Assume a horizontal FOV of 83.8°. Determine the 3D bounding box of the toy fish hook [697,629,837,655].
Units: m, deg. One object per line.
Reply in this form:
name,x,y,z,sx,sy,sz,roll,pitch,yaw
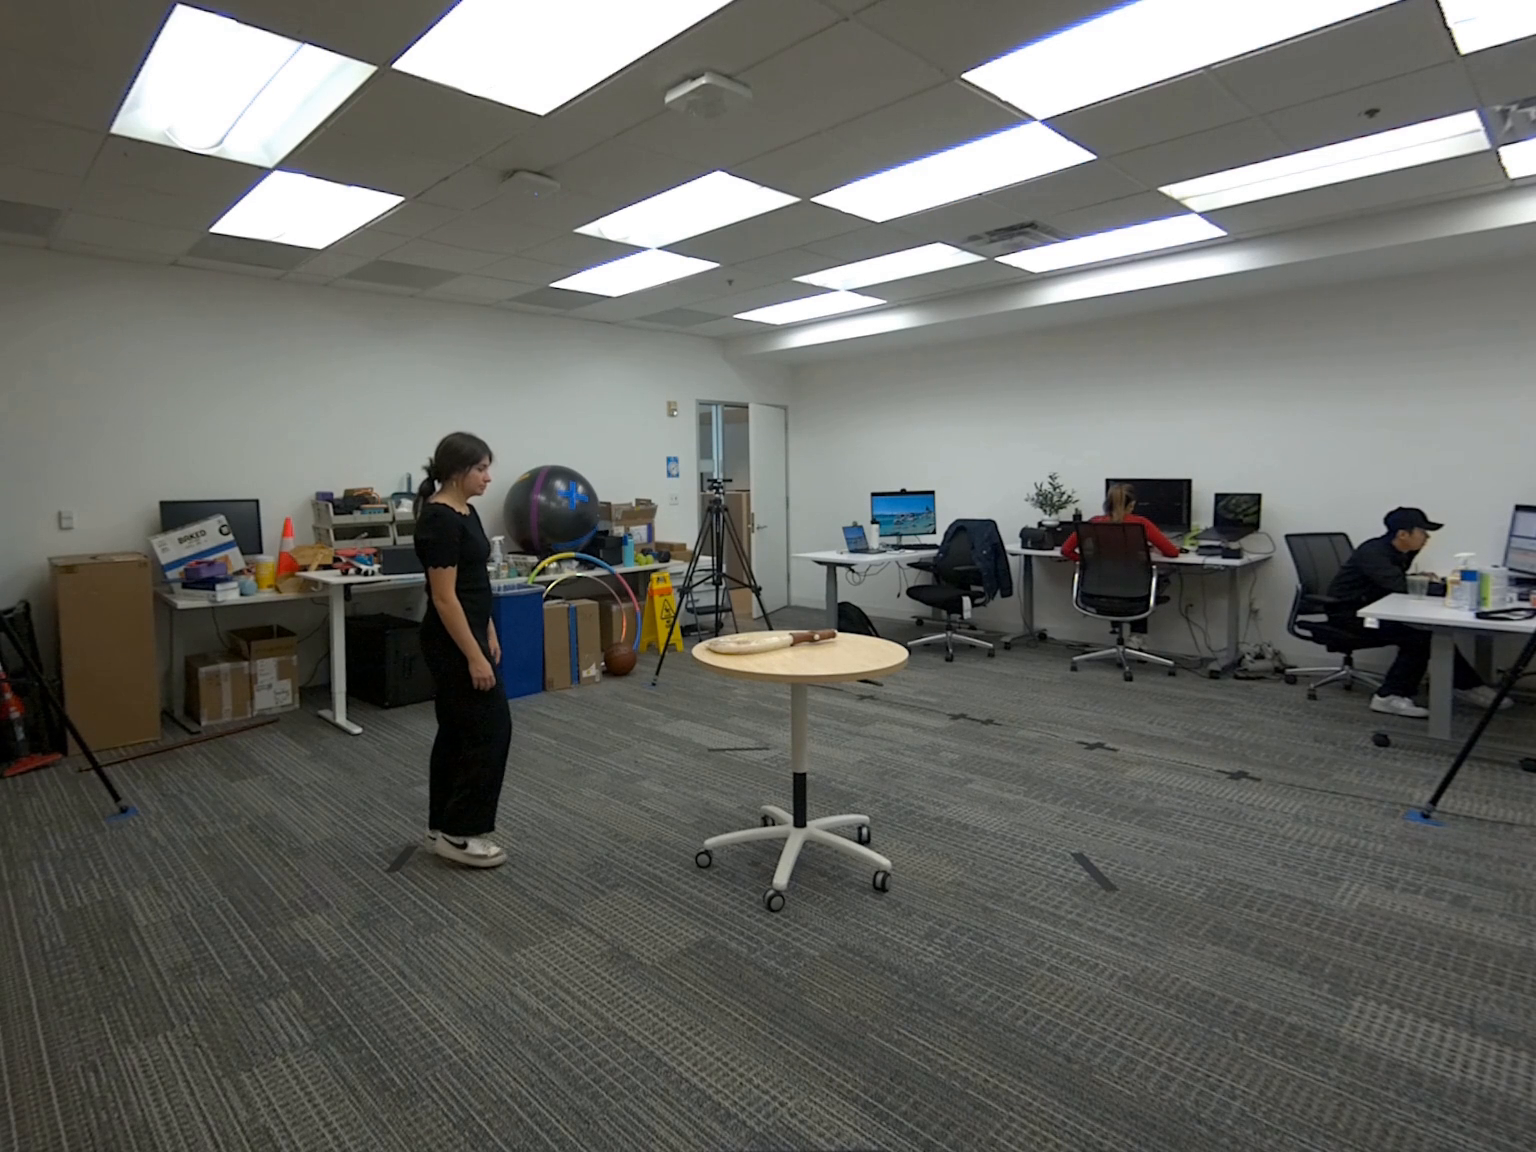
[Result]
toy fish hook,0.008,0.226,3.141,0.496,0.048,0.232,-5,16,-26
